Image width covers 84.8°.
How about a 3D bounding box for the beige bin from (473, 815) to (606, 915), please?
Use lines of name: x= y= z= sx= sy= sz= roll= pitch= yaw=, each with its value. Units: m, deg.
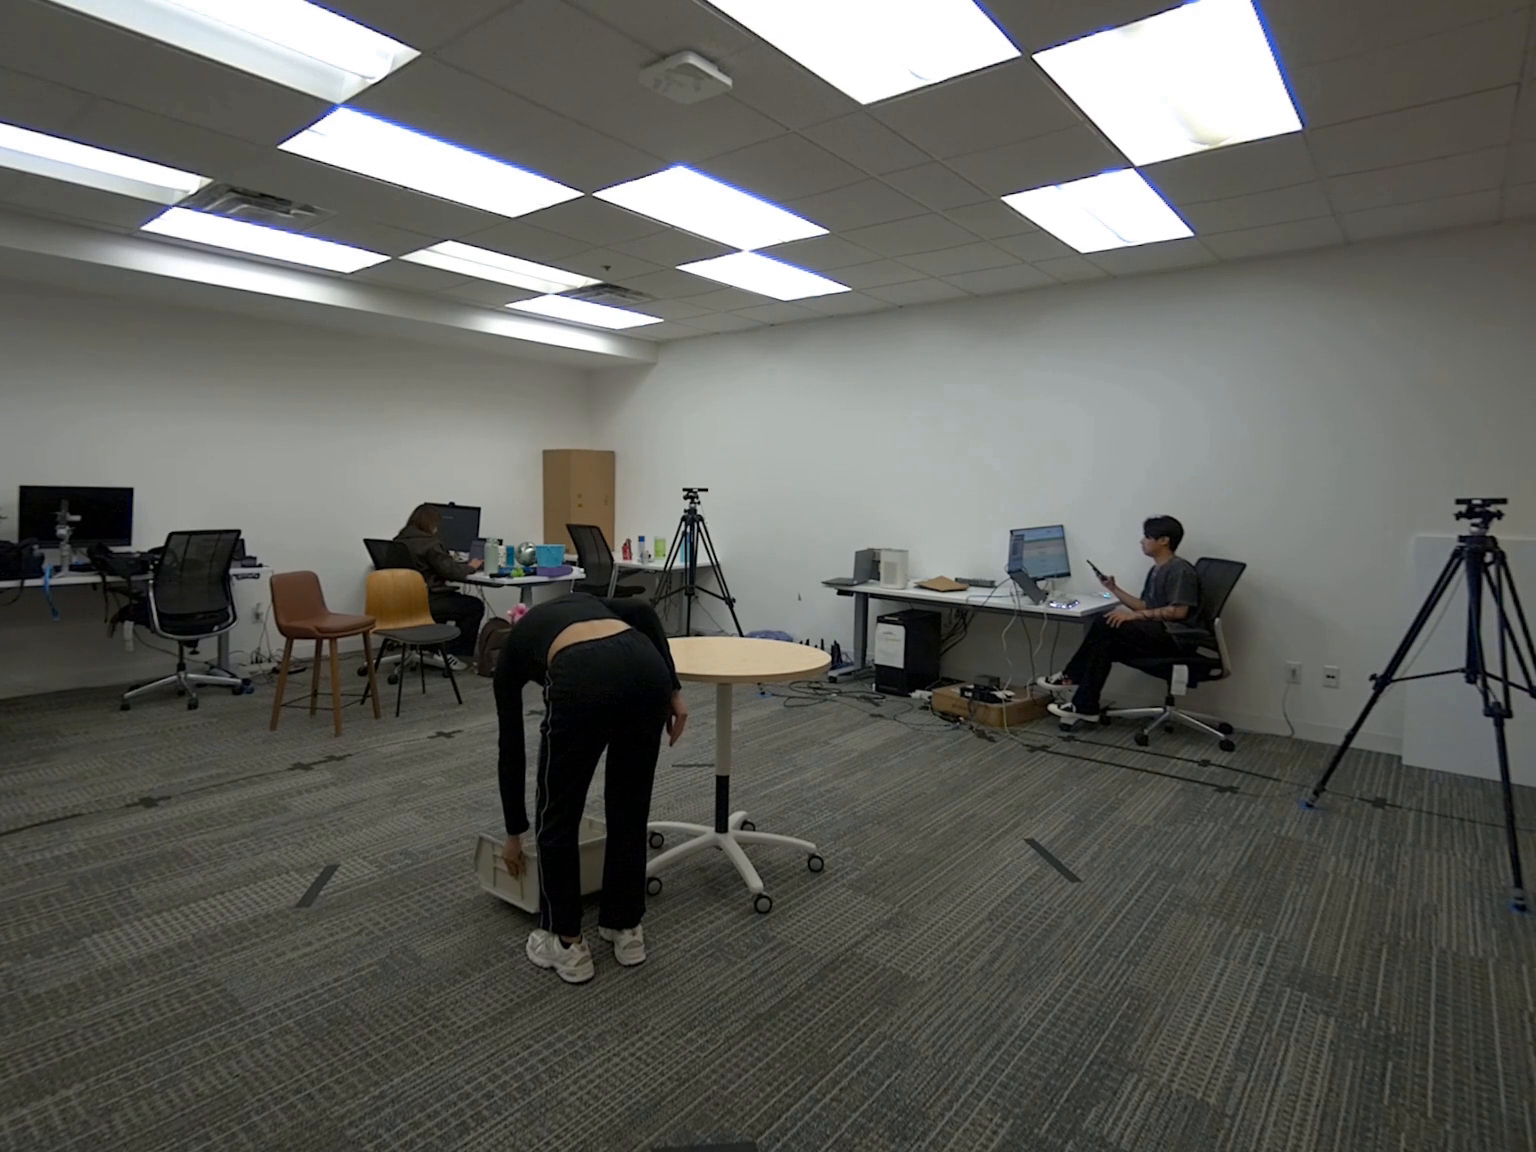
beige bin: x=-0.730 y=0.947 z=2.882 sx=0.389 sy=0.189 sz=0.408 roll=1 pitch=-1 yaw=42
